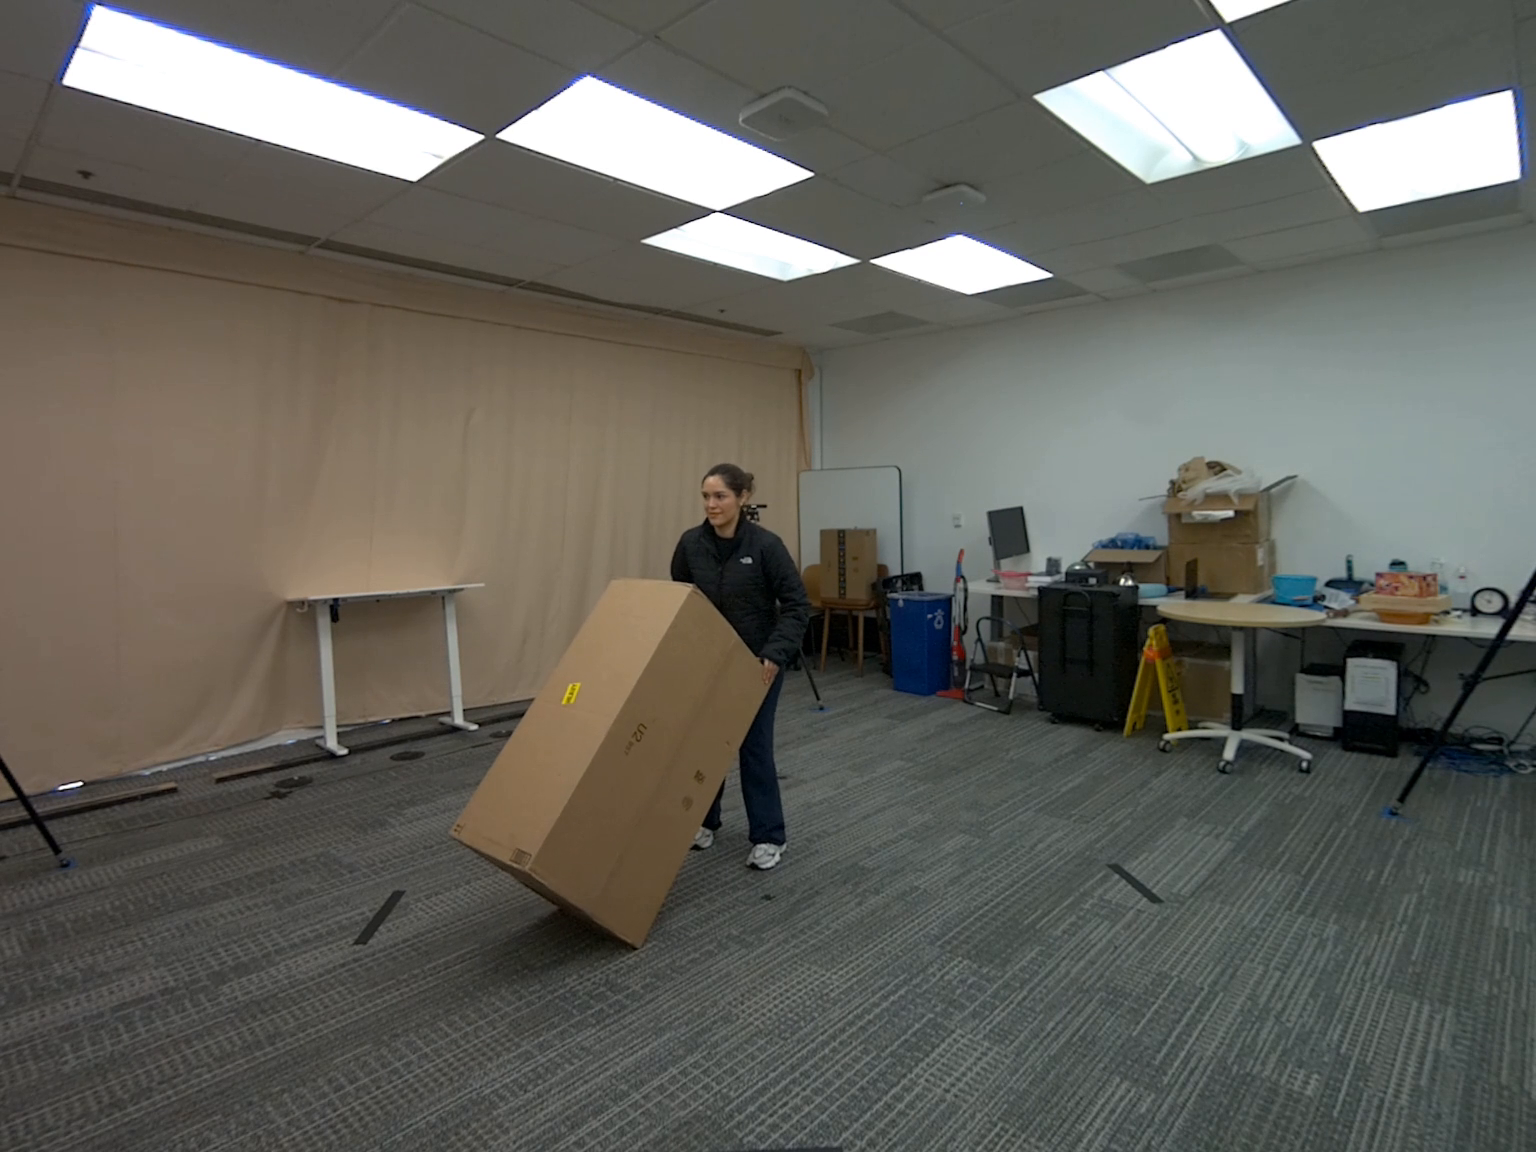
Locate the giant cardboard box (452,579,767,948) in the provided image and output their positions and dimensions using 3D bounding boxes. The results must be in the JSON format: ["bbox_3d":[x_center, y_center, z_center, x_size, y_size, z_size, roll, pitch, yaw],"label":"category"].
[{"bbox_3d":[-0.476,0.593,2.871,0.461,1.027,0.565,1,-39,41],"label":"giant cardboard box"}]
